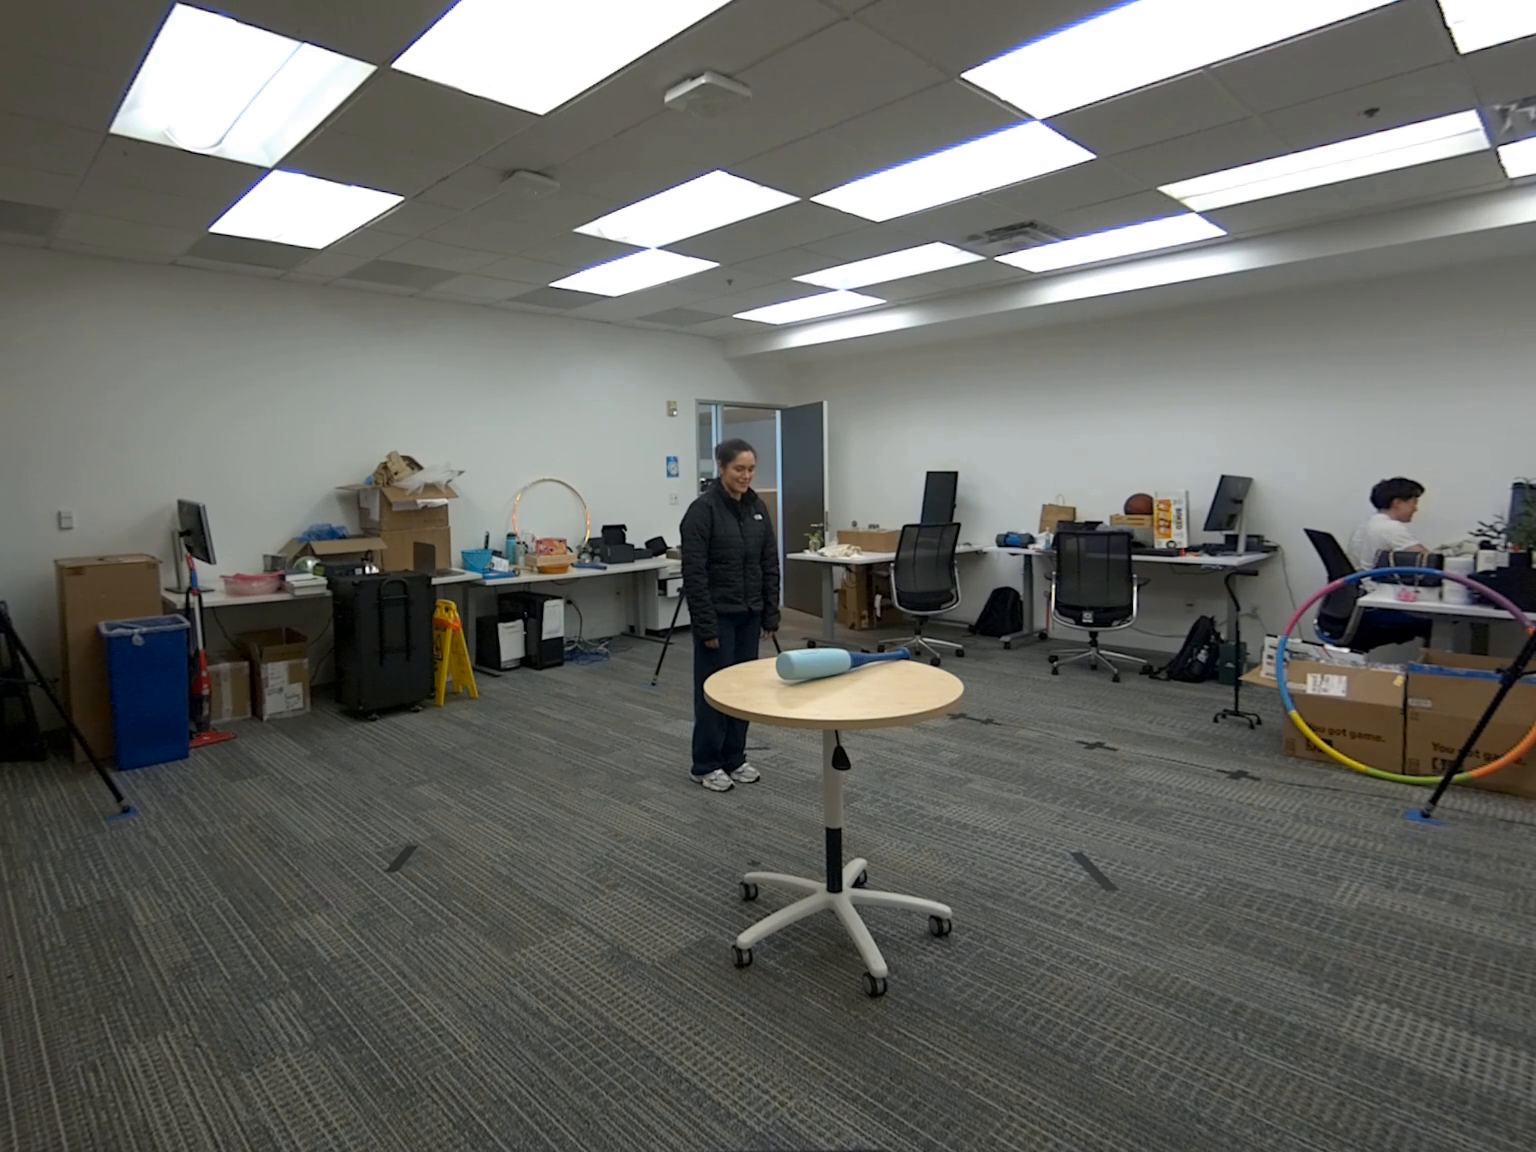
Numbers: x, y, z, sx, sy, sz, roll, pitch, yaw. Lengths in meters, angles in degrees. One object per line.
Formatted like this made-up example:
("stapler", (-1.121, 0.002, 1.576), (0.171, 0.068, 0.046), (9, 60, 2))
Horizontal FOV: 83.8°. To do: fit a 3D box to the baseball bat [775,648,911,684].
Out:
("baseball bat", (0.241, 0.267, 2.715), (0.528, 0.089, 0.092), (-1, 4, -38))
